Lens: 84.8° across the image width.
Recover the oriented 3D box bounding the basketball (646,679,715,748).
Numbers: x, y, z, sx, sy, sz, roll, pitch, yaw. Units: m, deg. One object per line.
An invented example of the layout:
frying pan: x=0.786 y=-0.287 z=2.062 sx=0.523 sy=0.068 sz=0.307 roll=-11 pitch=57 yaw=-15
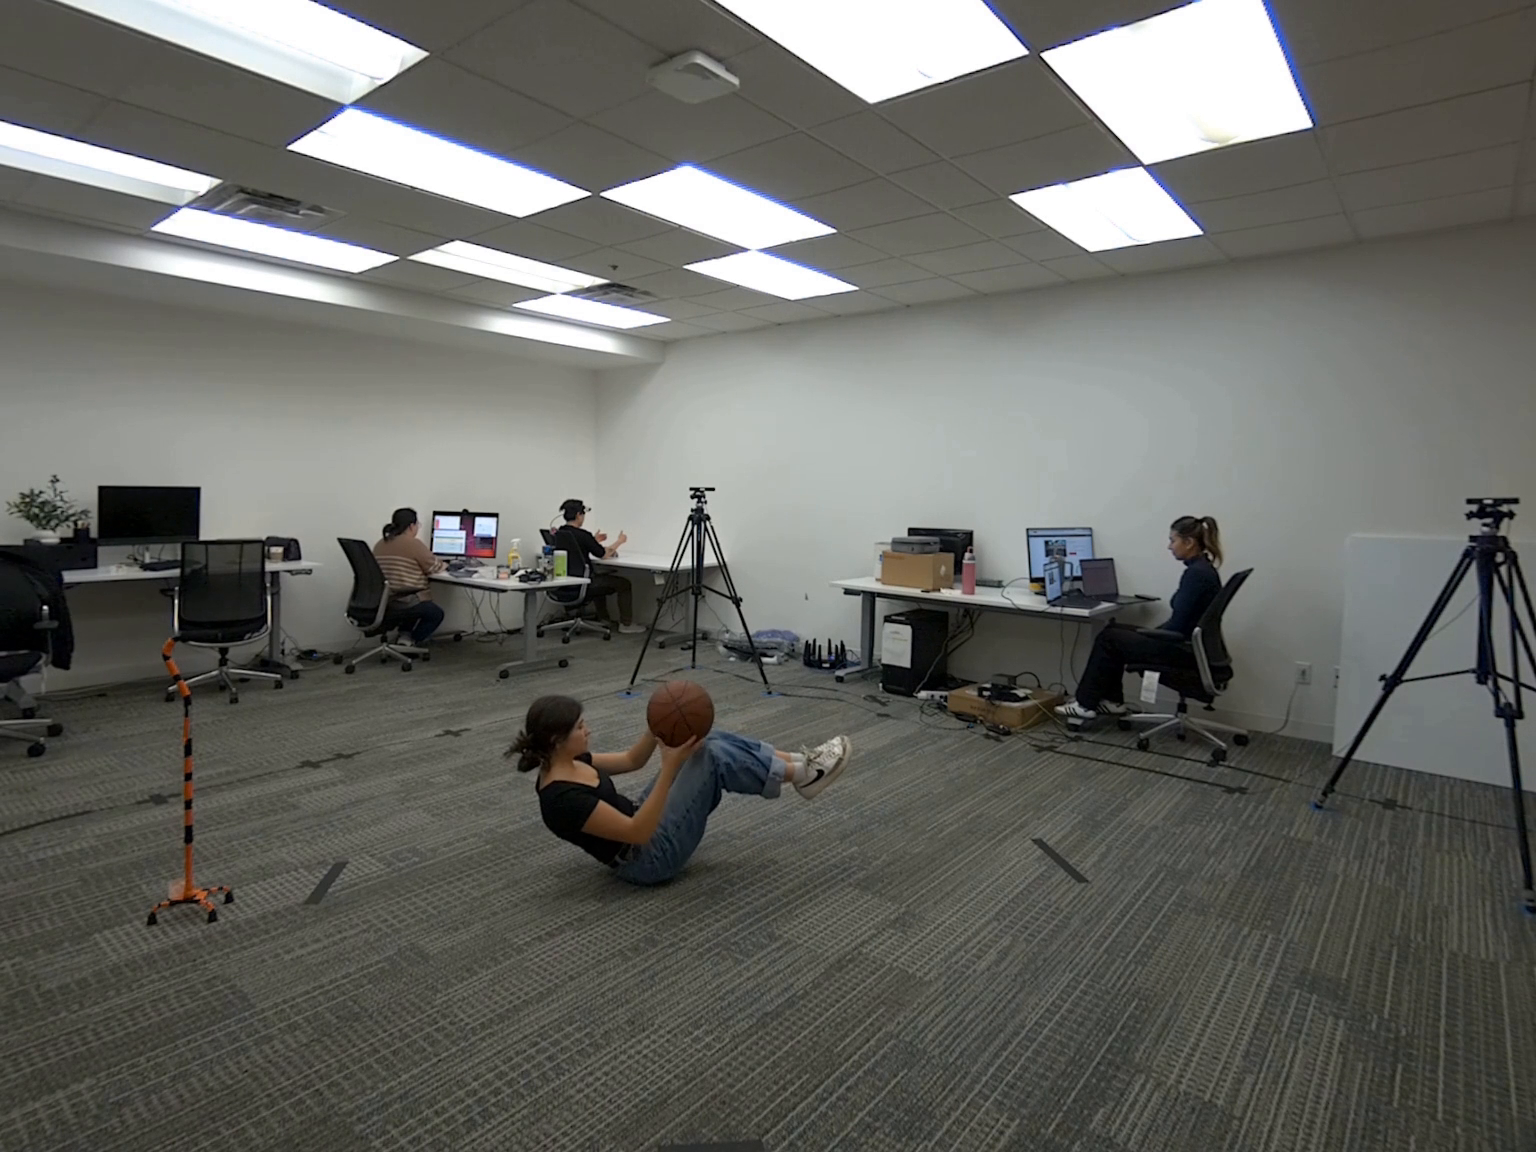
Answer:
basketball: x=-0.314 y=0.492 z=2.996 sx=0.235 sy=0.235 sz=0.237 roll=1 pitch=4 yaw=-2
